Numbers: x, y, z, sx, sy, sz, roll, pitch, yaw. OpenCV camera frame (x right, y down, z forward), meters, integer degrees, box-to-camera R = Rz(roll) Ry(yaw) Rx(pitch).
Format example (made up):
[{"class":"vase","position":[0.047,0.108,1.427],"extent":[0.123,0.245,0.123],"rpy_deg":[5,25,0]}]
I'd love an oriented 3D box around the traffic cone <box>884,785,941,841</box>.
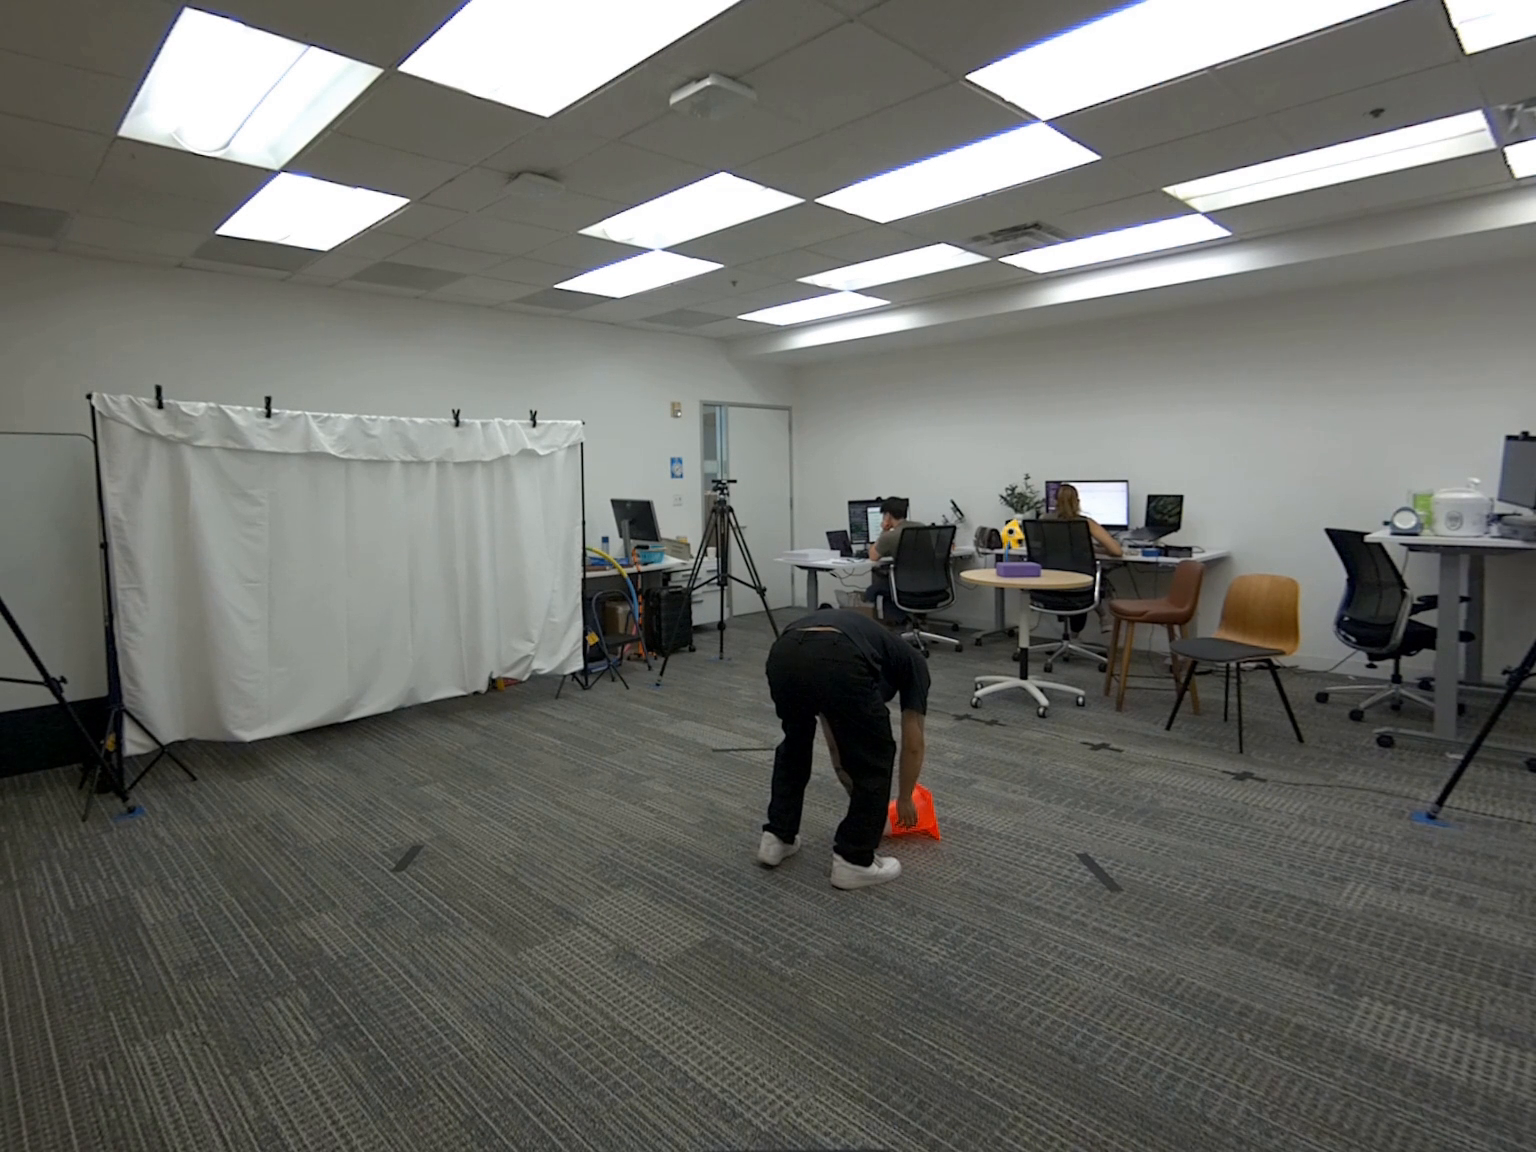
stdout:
[{"class":"traffic cone","position":[0.438,0.959,3.323],"extent":[0.380,0.203,0.207],"rpy_deg":[-14,10,-13]}]
